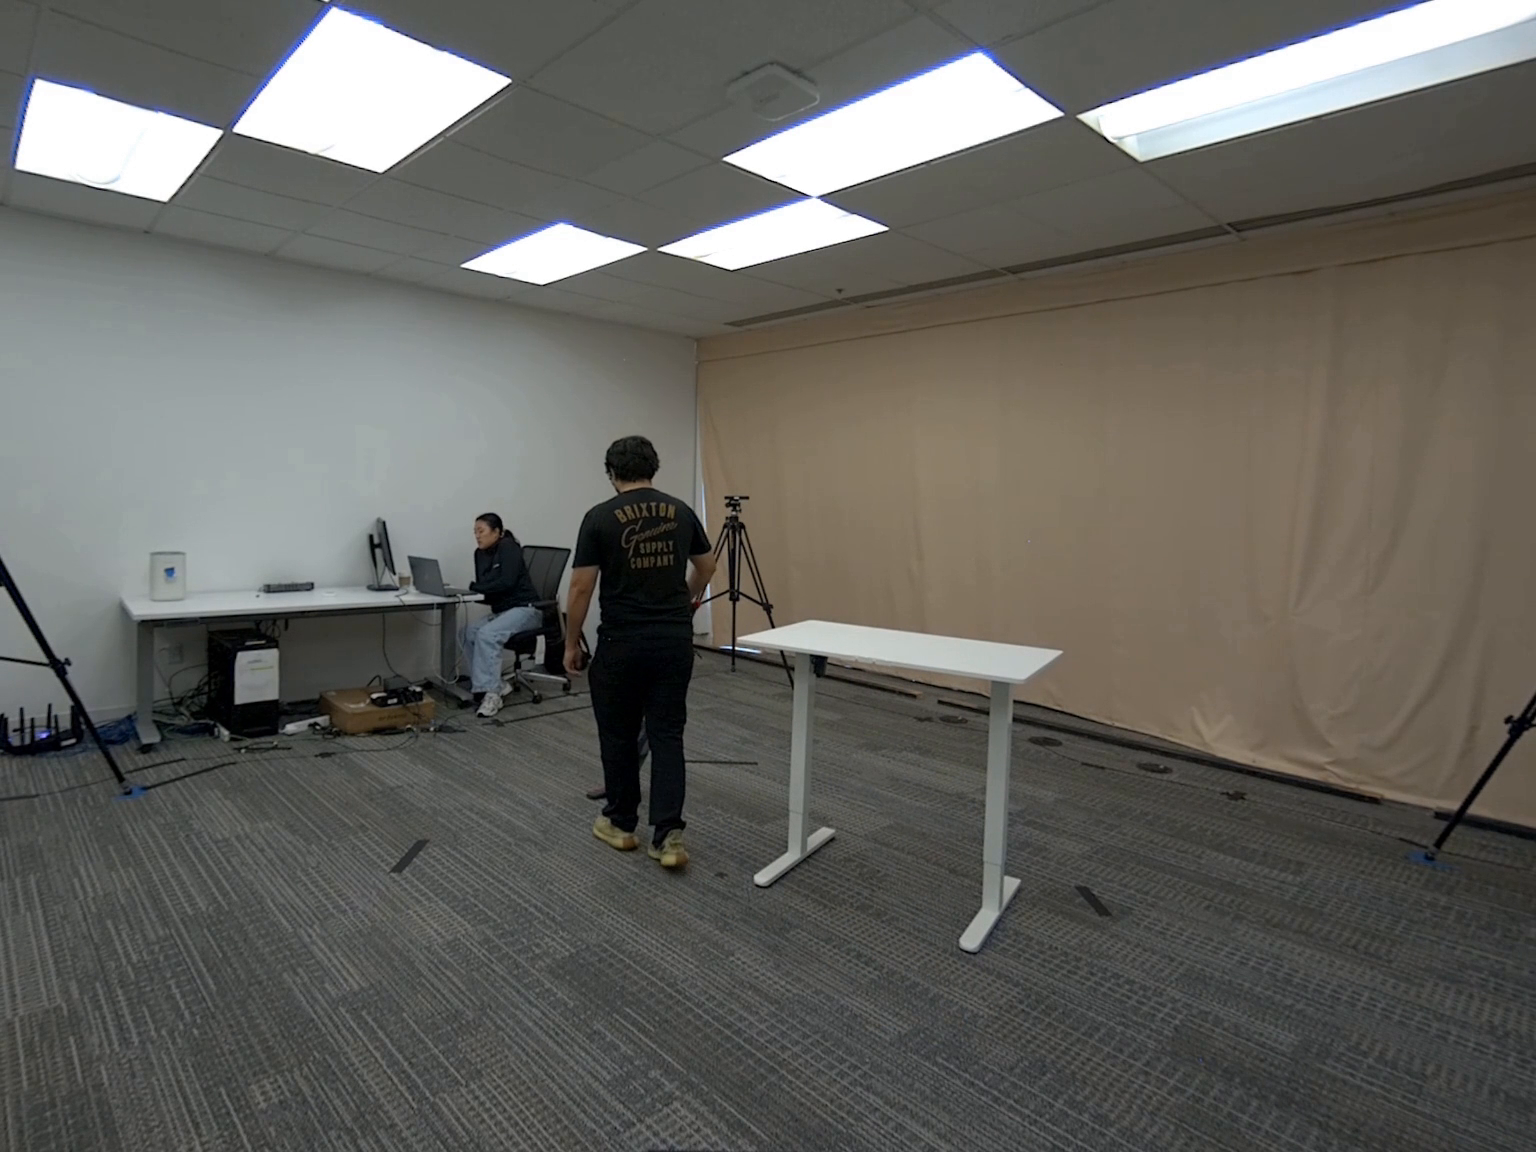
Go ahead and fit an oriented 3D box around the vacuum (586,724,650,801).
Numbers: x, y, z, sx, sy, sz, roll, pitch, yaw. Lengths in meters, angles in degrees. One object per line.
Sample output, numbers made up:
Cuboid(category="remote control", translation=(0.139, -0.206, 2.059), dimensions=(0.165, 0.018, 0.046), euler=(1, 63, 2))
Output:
Cuboid(category="vacuum", translation=(-0.517, 0.568, 3.758), dimensions=(0.246, 1.042, 0.148), euler=(1, 30, -48))
